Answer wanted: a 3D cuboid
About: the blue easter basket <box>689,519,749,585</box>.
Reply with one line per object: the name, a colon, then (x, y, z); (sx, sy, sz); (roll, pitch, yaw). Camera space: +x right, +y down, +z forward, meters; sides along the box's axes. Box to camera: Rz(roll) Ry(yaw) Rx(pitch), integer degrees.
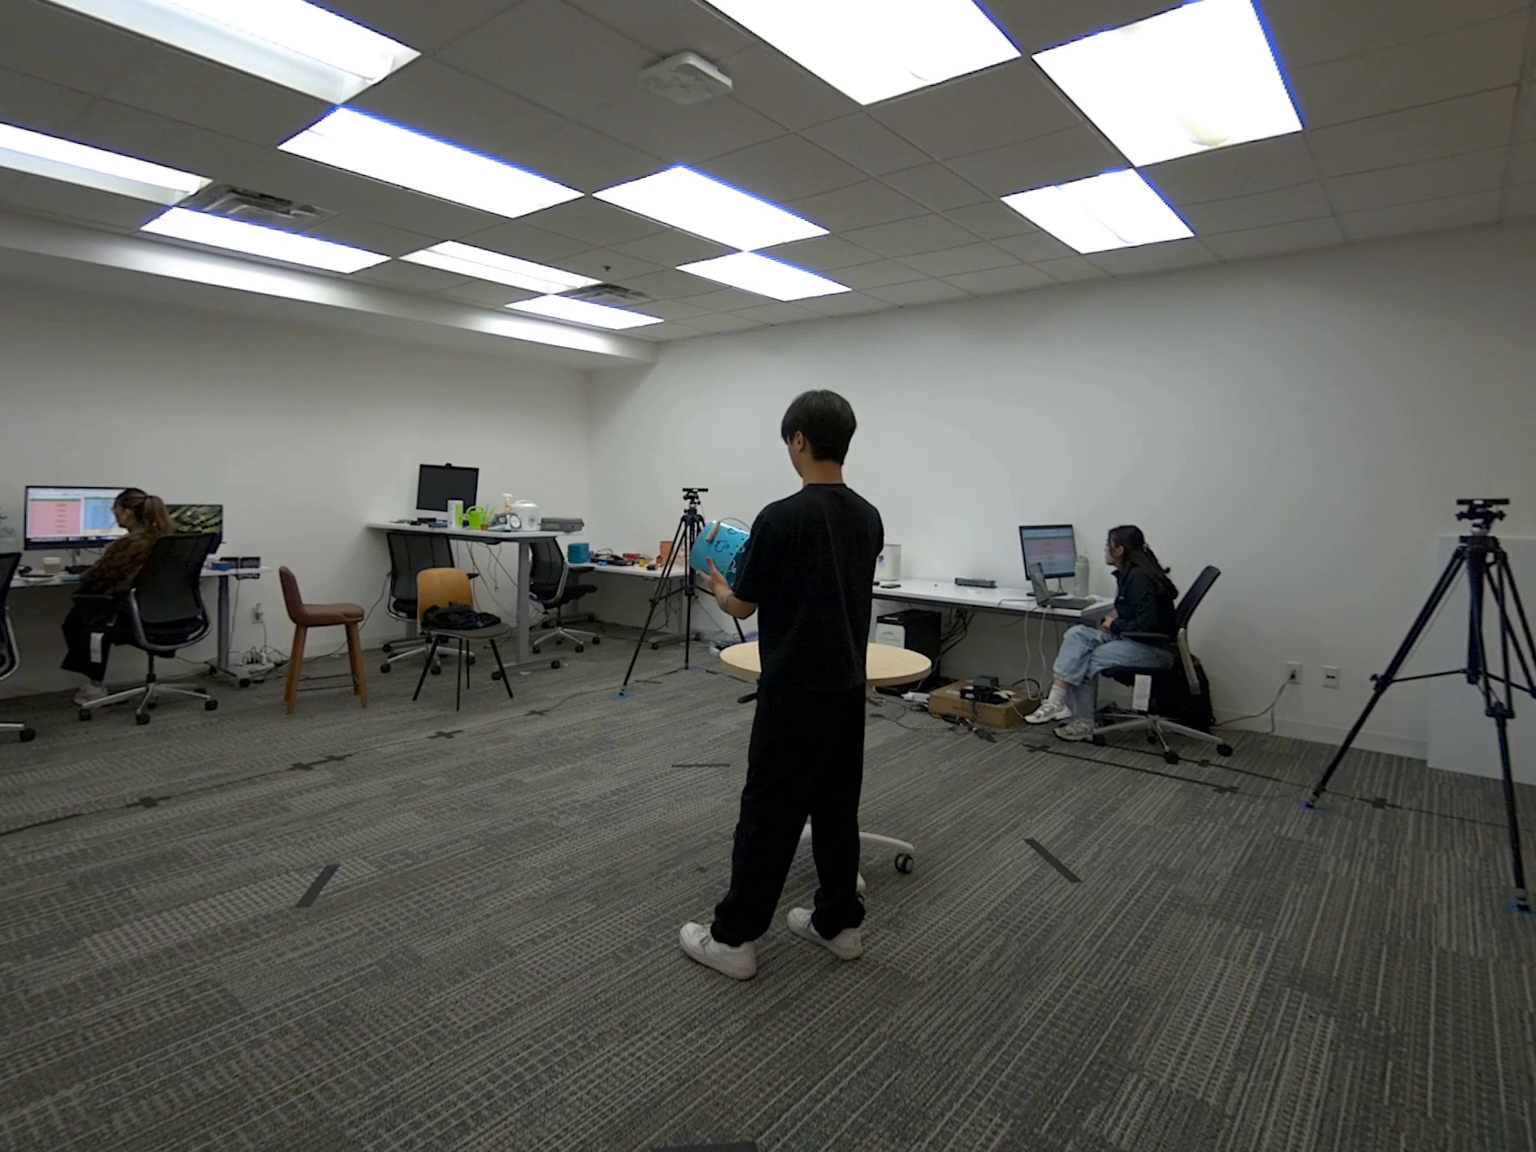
blue easter basket: (-0.162, -0.081, 2.855); (0.159, 0.242, 0.239); (28, 12, 14)
